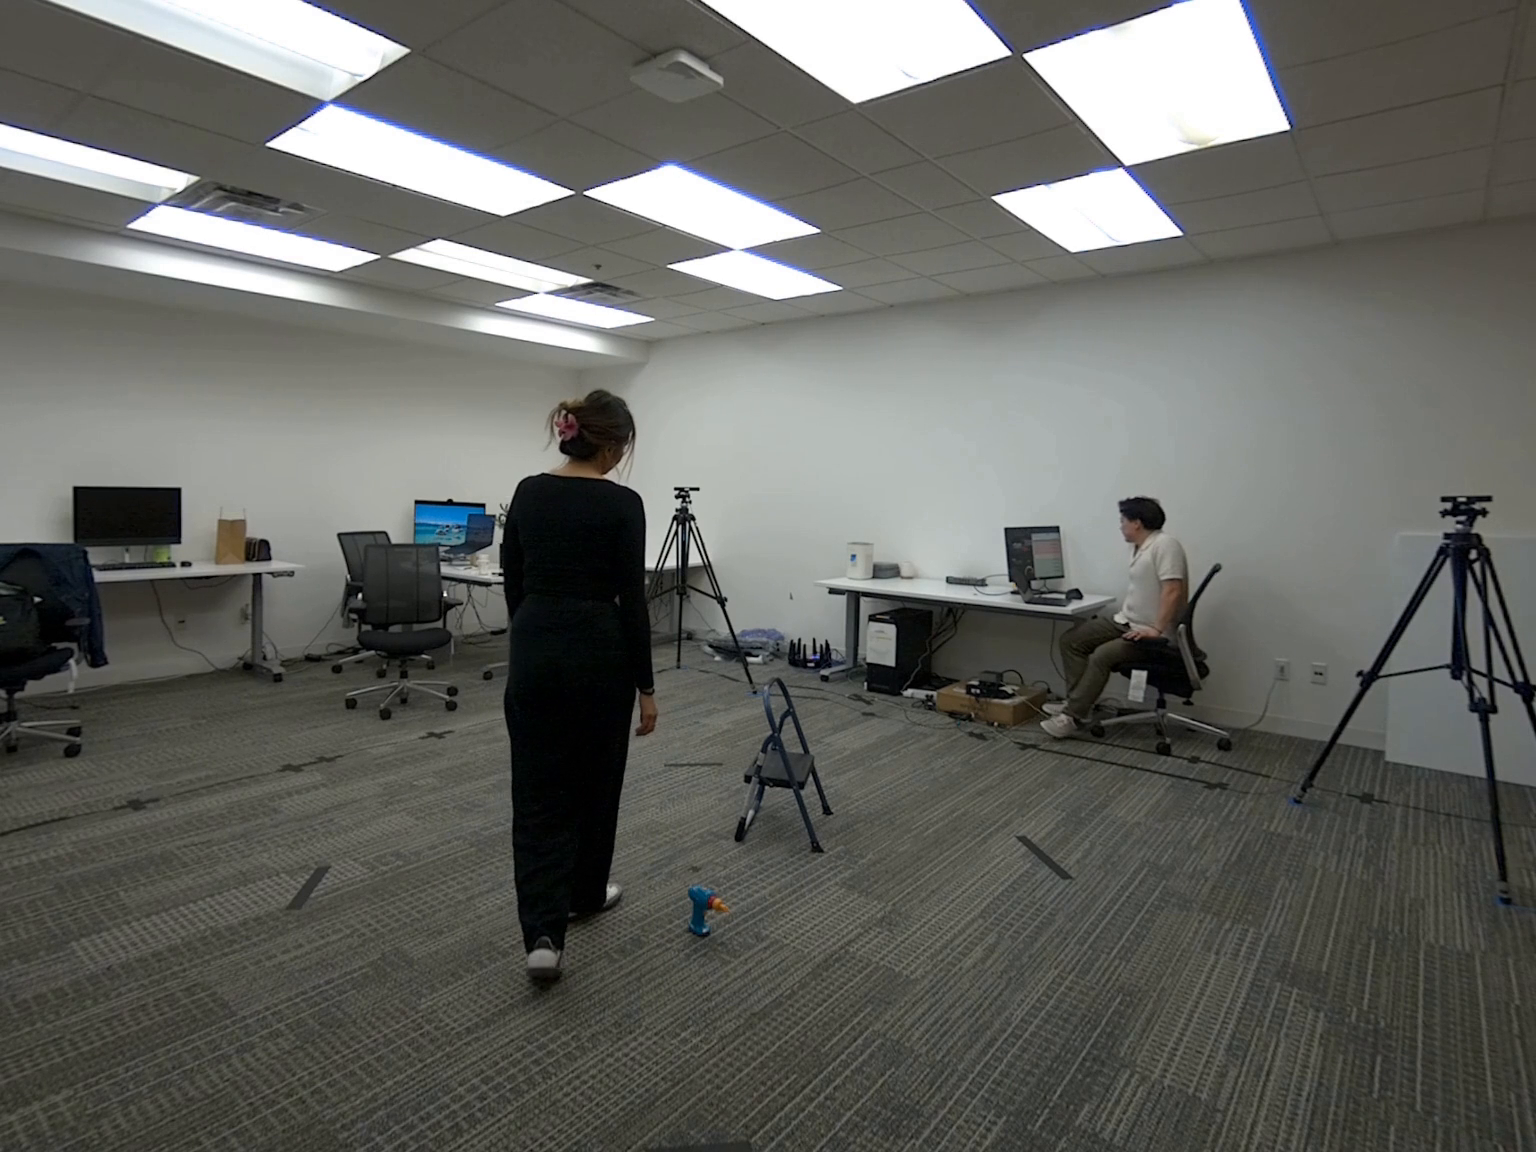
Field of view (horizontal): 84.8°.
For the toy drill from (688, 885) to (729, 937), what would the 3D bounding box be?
[{"bbox_3d":[-0.192,1.044,2.628,0.176,0.146,0.059,6,4,39],"label":"toy drill"}]
